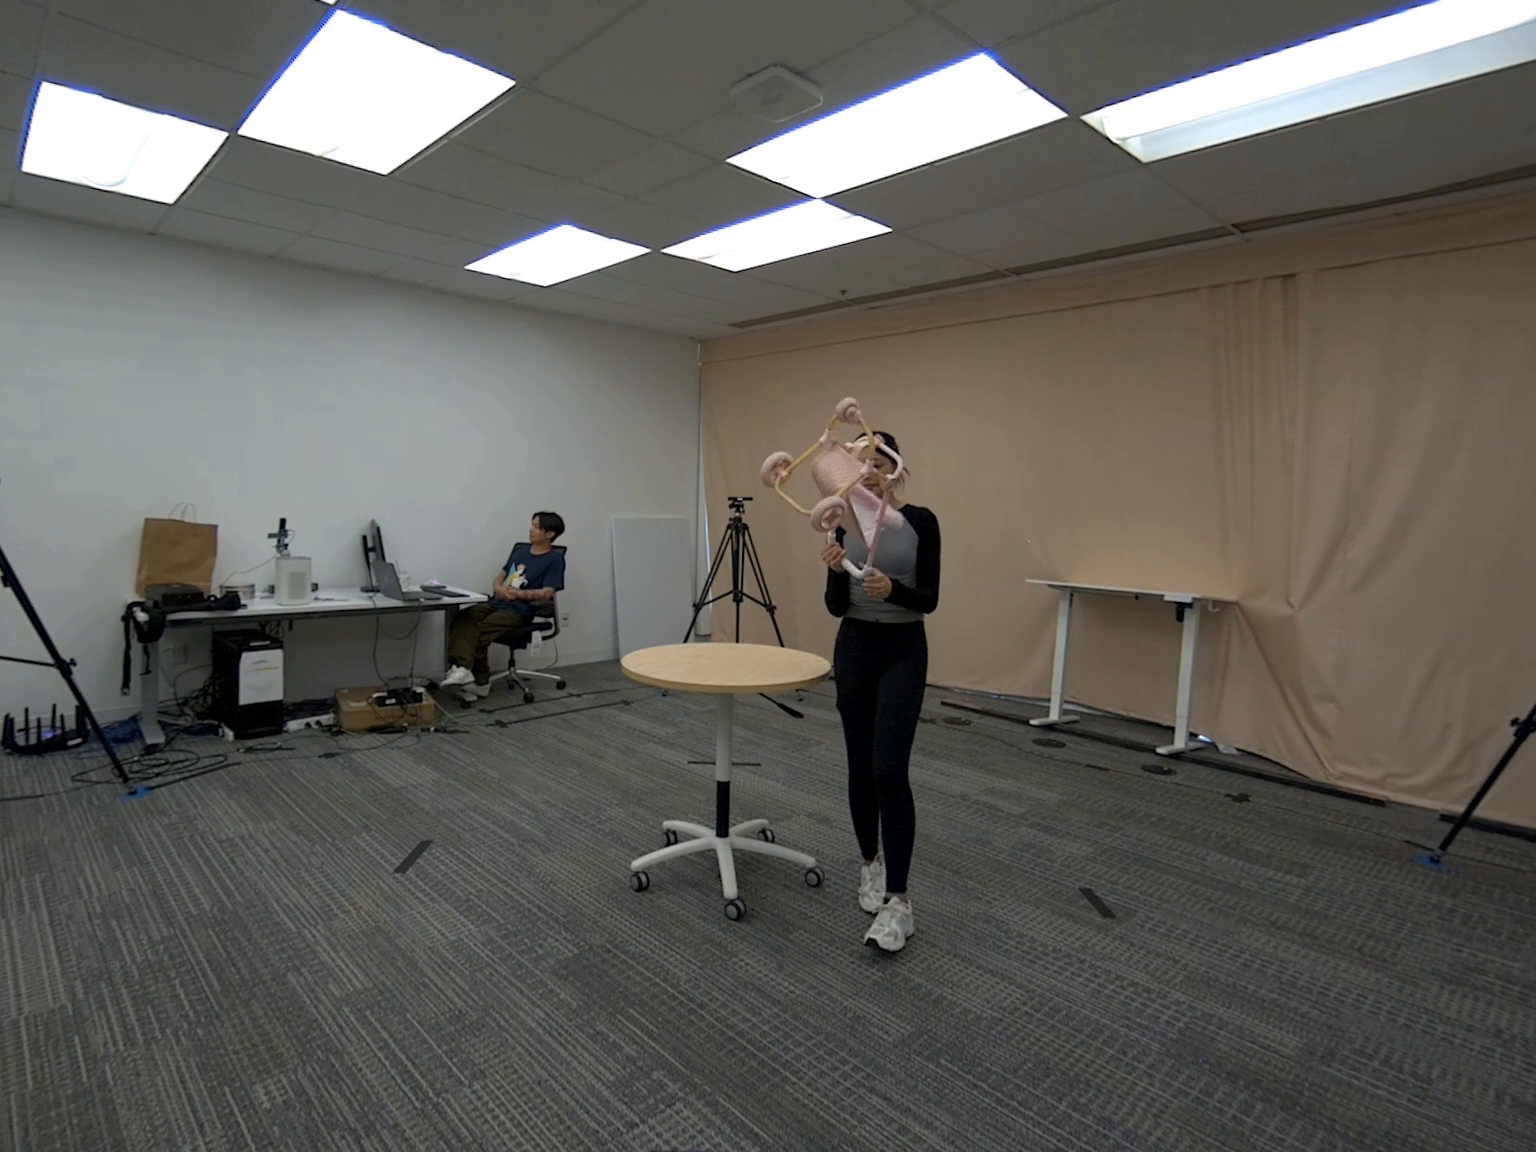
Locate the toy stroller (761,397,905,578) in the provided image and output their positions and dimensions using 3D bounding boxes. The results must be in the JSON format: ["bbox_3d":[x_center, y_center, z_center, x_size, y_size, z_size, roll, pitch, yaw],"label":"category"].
[{"bbox_3d":[0.228,-0.243,2.425,0.290,0.341,0.518,40,1,41],"label":"toy stroller"}]
